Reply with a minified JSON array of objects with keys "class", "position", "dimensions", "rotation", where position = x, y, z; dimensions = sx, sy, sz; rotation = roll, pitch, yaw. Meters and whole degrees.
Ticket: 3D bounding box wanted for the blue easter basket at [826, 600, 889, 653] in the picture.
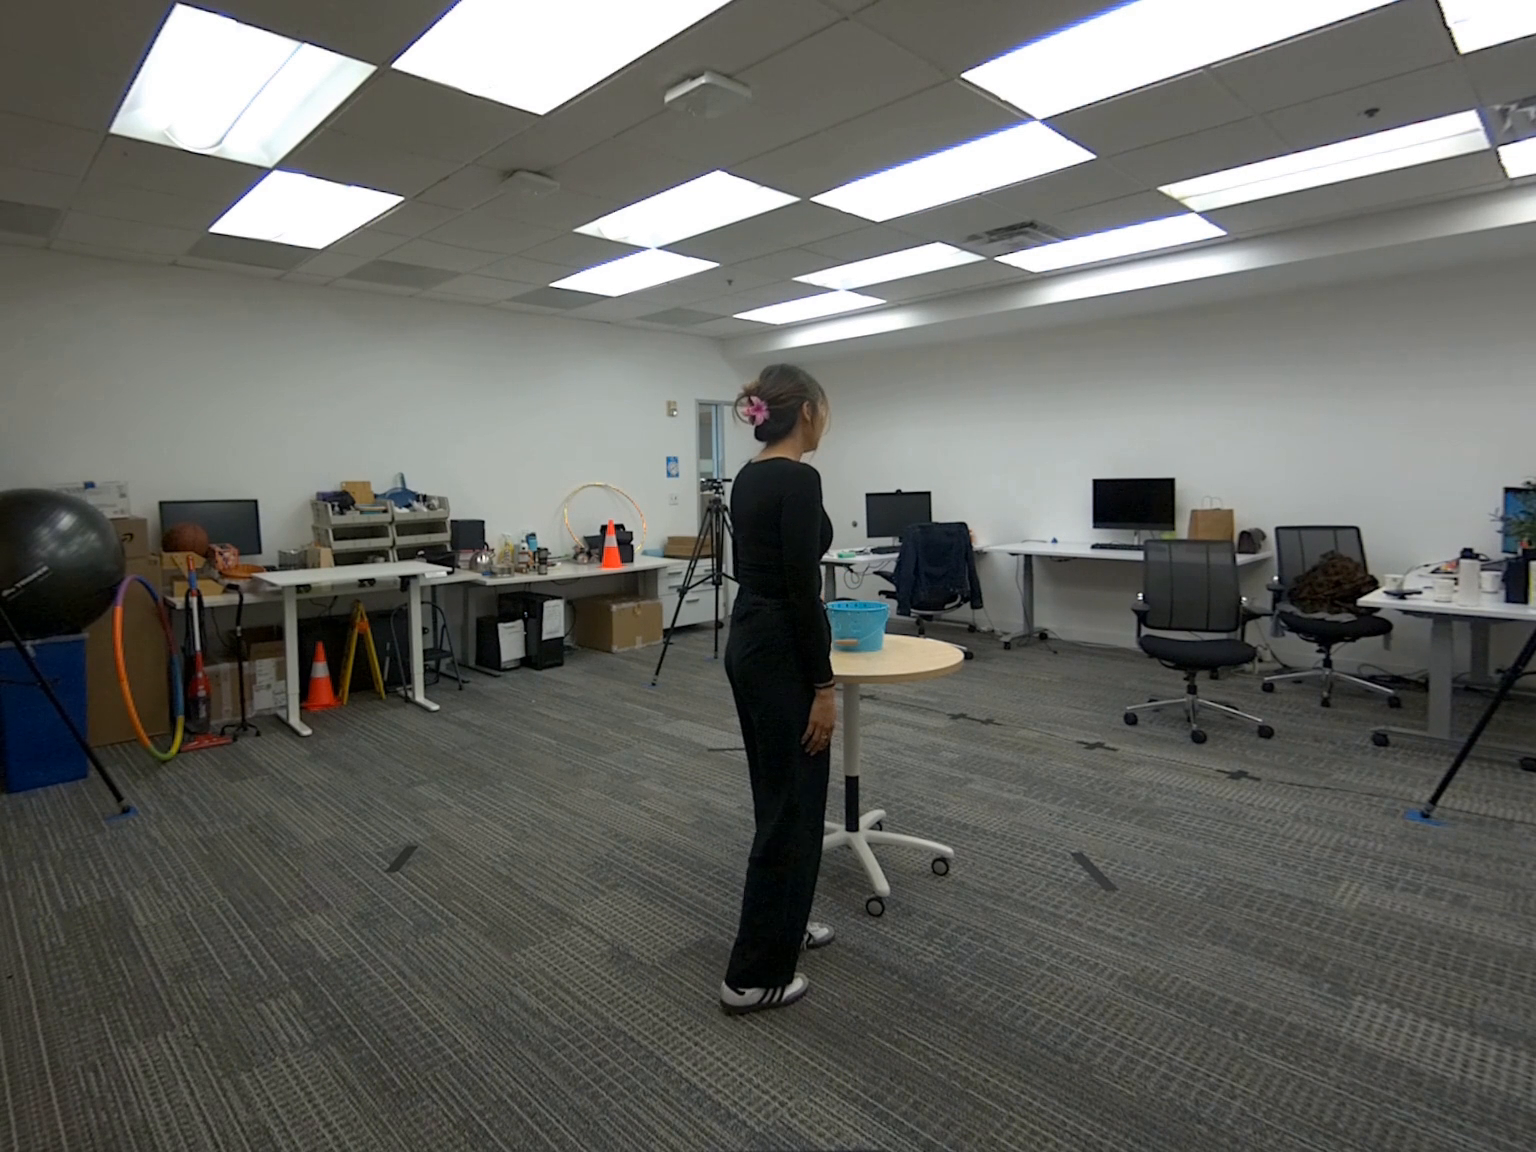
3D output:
[{"class":"blue easter basket","position":[0.322,0.186,3.080],"dimensions":[0.243,0.155,0.245],"rotation":[0,5,-2]}]
